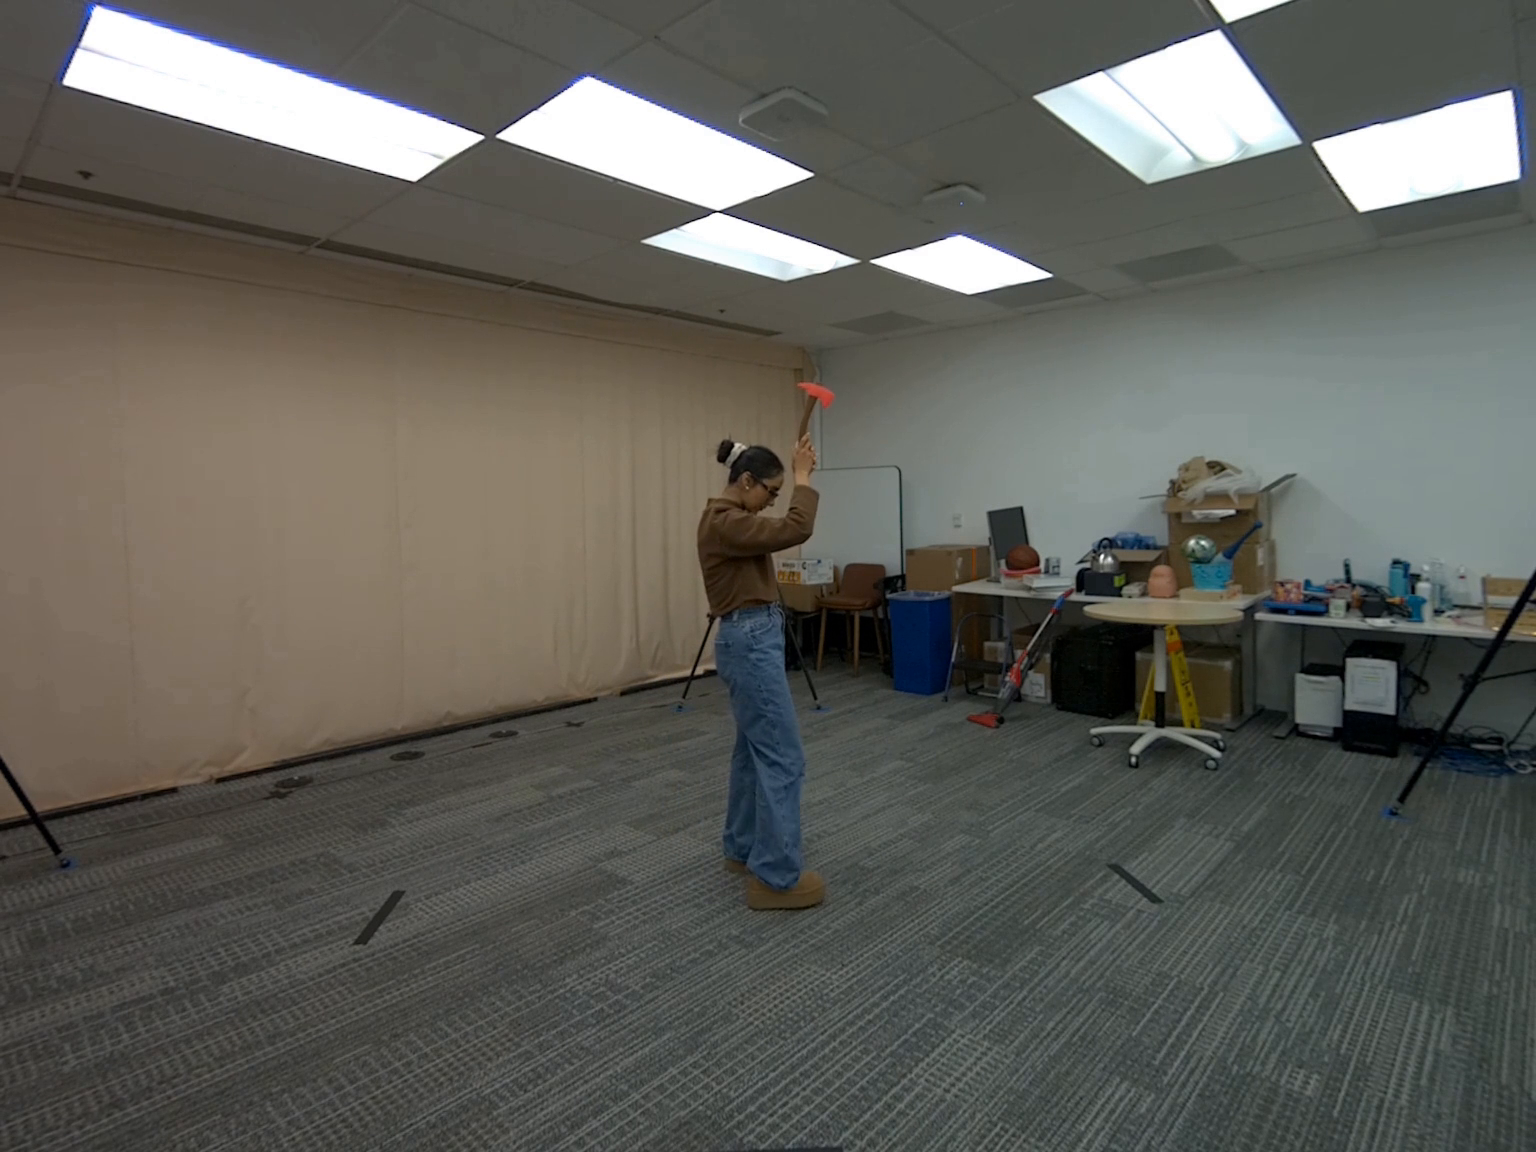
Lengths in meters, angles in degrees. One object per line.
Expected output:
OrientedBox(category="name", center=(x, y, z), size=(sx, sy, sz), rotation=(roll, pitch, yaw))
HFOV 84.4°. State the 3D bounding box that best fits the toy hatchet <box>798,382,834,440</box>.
OrientedBox(category="toy hatchet", center=(0.172, -0.567, 3.033), size=(0.131, 0.269, 0.029), rotation=(3, 4, 4))
